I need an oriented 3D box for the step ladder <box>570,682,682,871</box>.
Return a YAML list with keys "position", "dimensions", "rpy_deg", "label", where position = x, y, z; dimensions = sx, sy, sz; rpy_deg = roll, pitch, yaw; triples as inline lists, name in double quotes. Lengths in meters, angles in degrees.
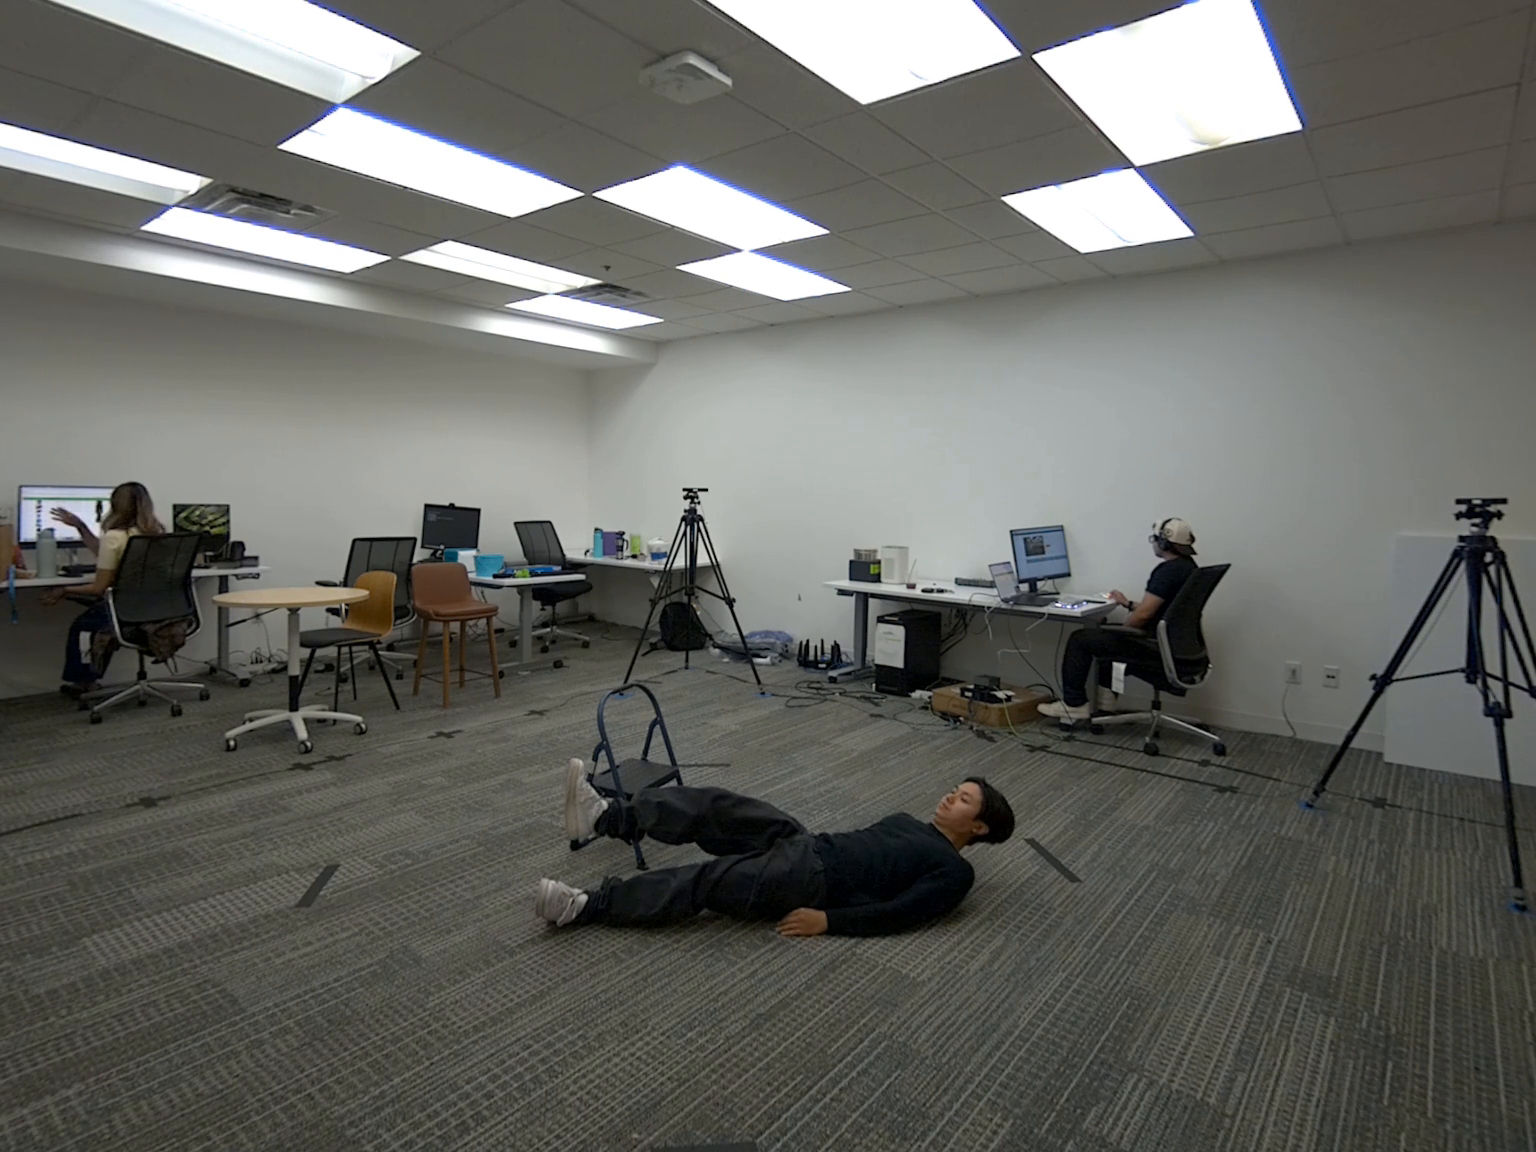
- position: [-0.524, 0.738, 3.341]
  dimensions: [0.358, 0.604, 0.421]
  rpy_deg: [3, 4, 25]
  label: "step ladder"
